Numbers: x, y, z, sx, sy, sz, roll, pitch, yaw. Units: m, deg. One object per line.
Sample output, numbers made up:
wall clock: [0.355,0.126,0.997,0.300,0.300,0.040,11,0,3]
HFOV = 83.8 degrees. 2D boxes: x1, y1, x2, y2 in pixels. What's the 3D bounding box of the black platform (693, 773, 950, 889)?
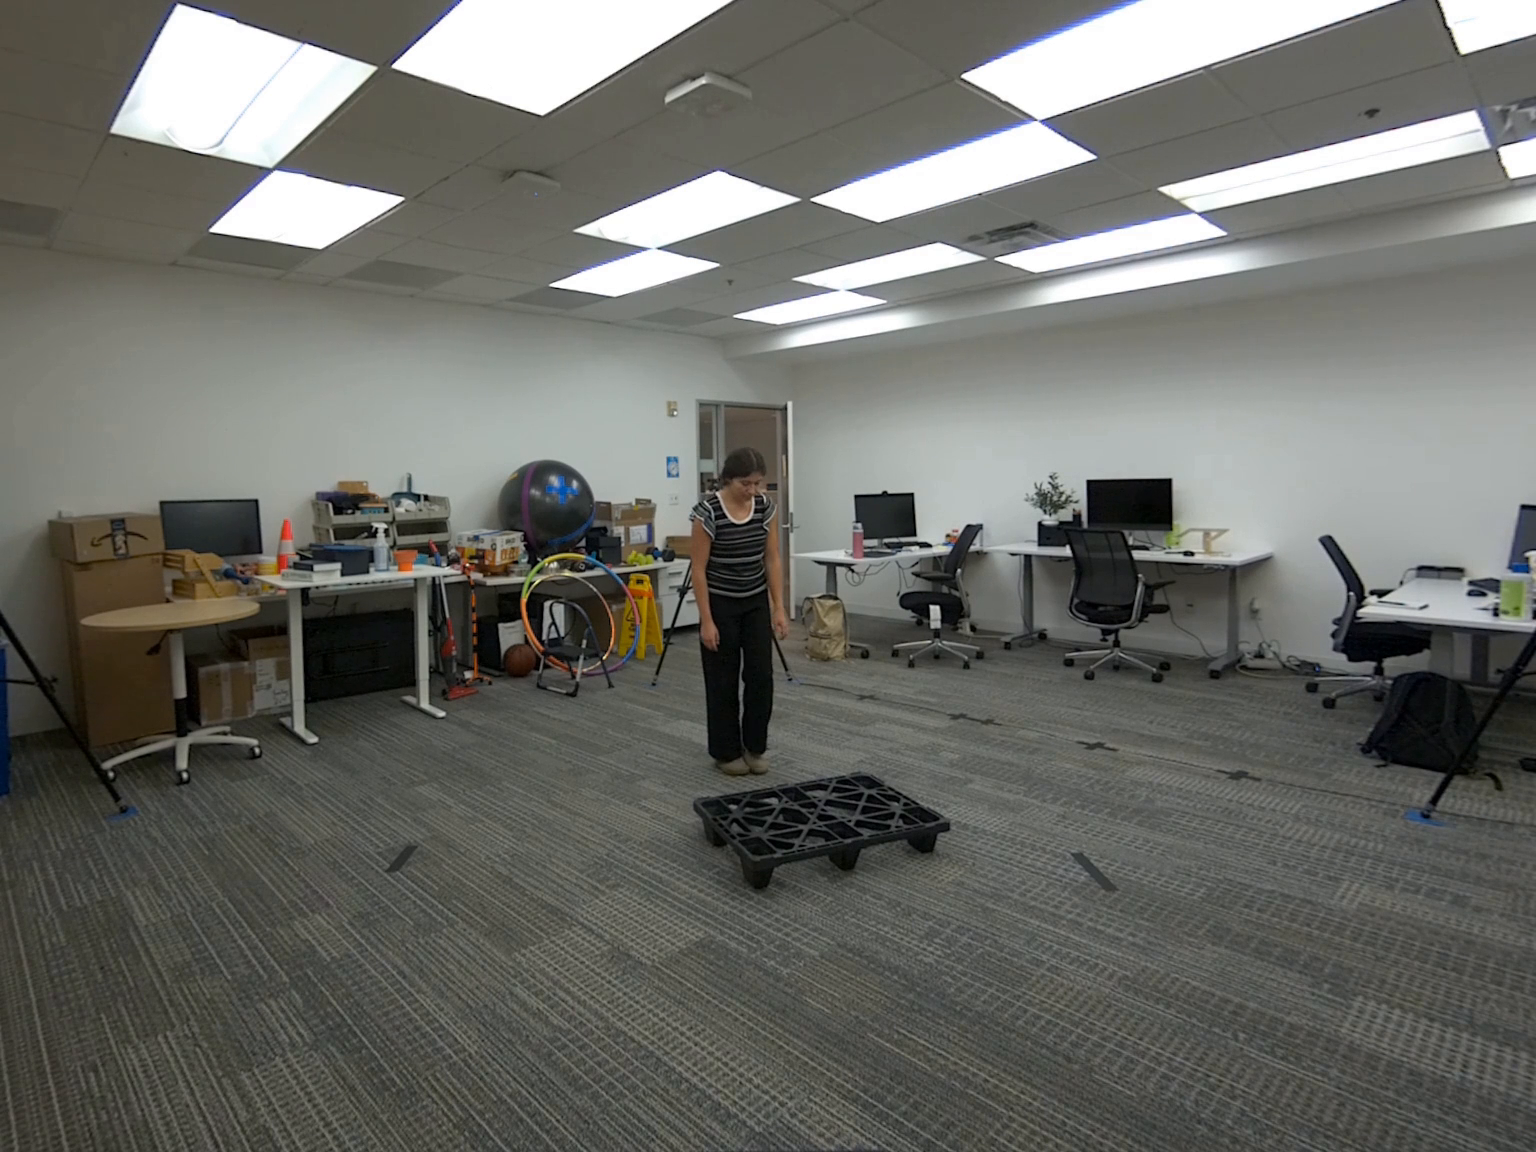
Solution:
black platform: [0.192,0.956,3.254,0.790,0.142,0.620,-4,7,-23]
